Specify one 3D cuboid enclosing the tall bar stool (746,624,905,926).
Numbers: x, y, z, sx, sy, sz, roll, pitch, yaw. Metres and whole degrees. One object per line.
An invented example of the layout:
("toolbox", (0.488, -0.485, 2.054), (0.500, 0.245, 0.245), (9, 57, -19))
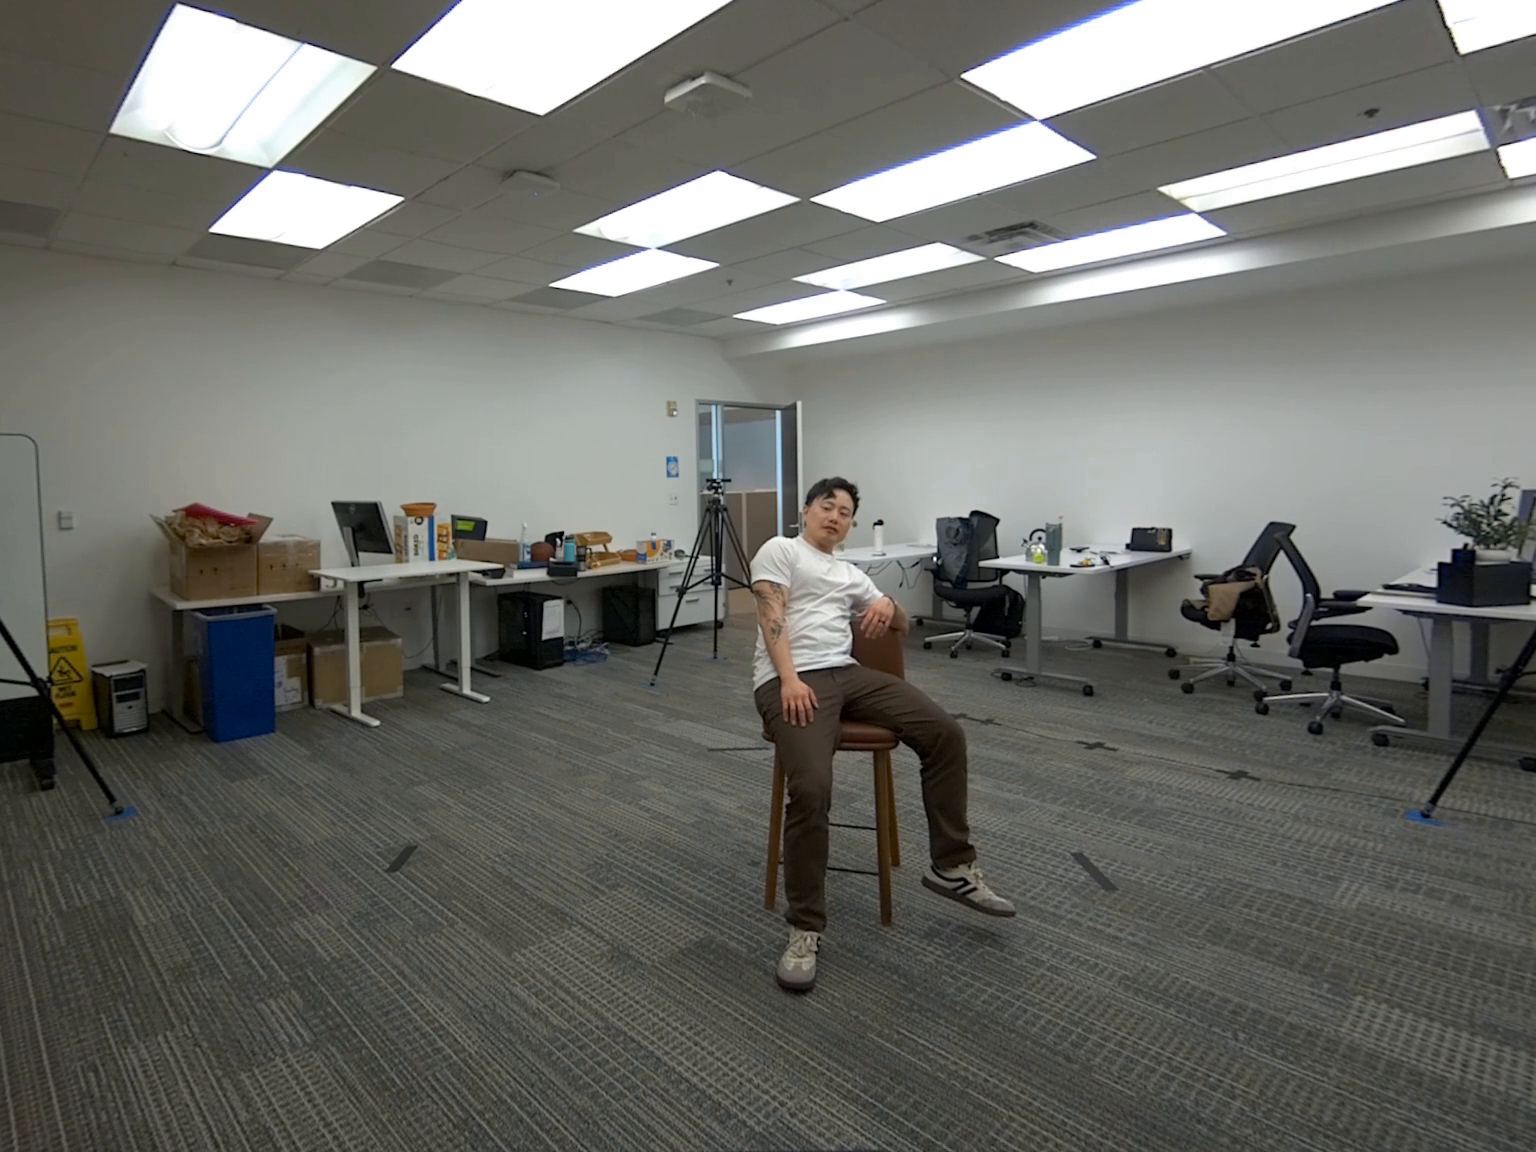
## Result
("tall bar stool", (0.241, 0.634, 2.904), (0.464, 0.887, 0.461), (1, 3, 17))
